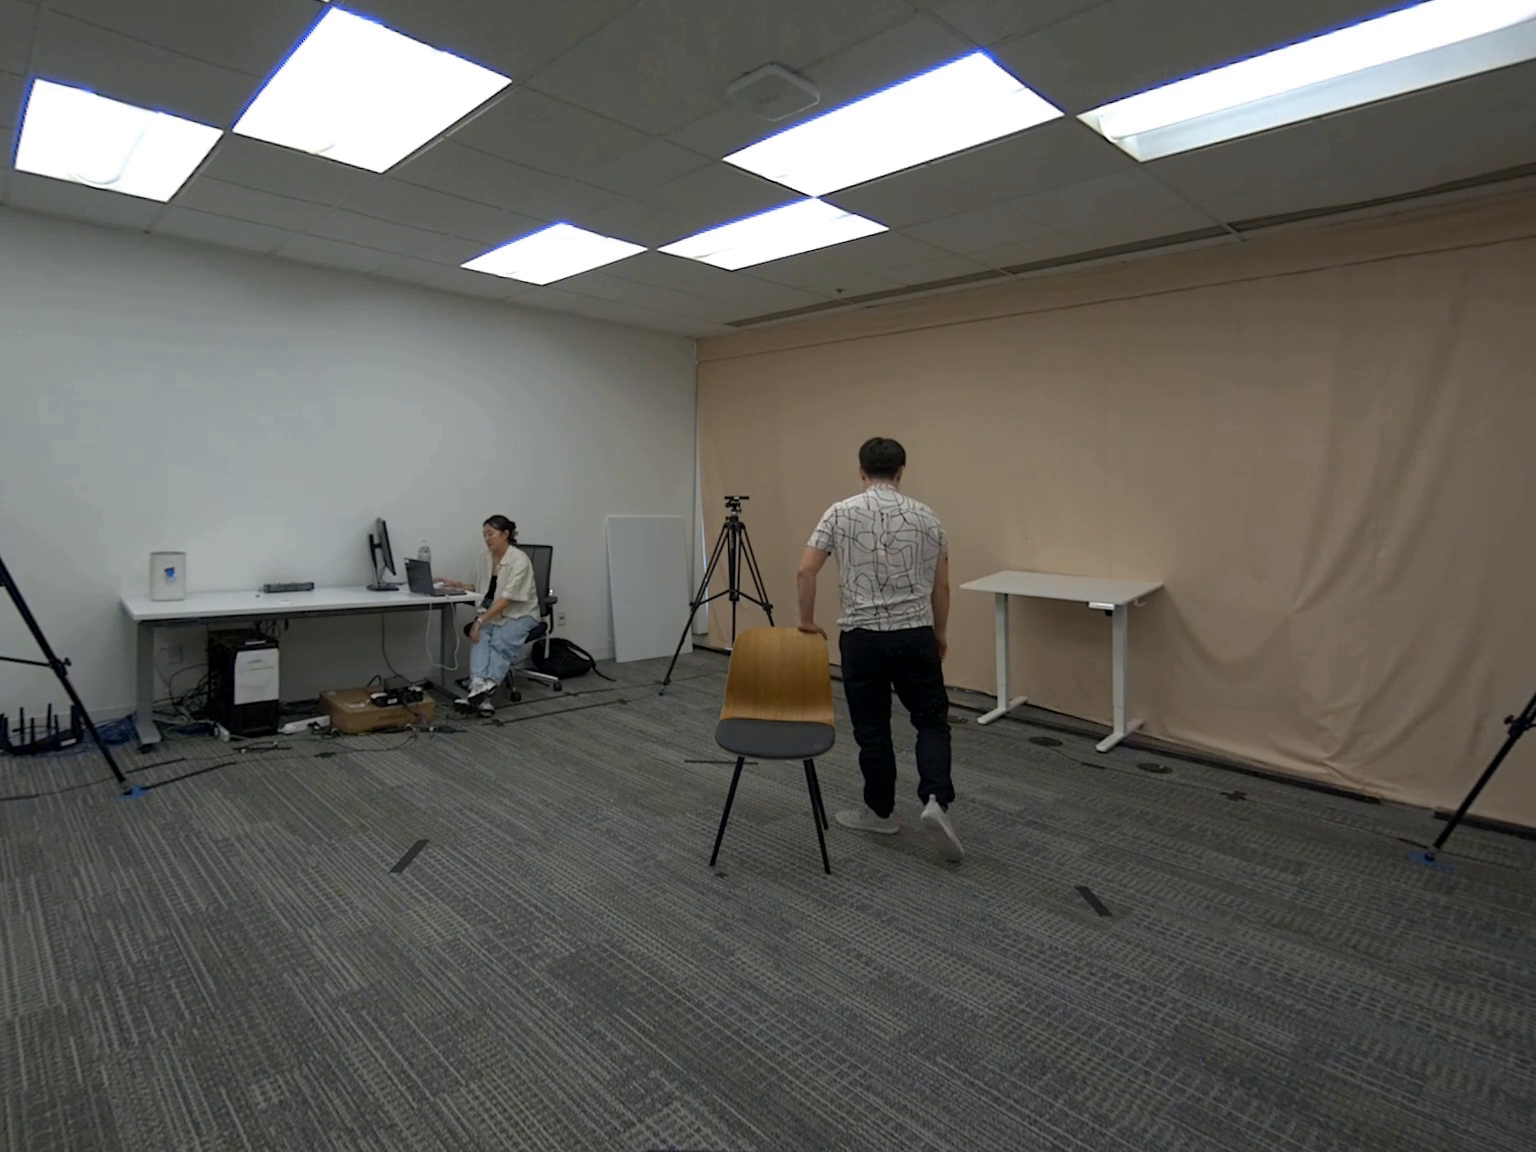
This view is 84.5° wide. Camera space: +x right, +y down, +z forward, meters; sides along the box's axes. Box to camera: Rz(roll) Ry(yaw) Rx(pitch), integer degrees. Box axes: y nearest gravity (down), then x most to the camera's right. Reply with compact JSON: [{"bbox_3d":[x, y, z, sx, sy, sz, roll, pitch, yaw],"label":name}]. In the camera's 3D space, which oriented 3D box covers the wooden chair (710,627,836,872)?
[{"bbox_3d":[0.021,0.661,3.337,0.480,0.878,0.520,2,-1,4],"label":"wooden chair"}]
